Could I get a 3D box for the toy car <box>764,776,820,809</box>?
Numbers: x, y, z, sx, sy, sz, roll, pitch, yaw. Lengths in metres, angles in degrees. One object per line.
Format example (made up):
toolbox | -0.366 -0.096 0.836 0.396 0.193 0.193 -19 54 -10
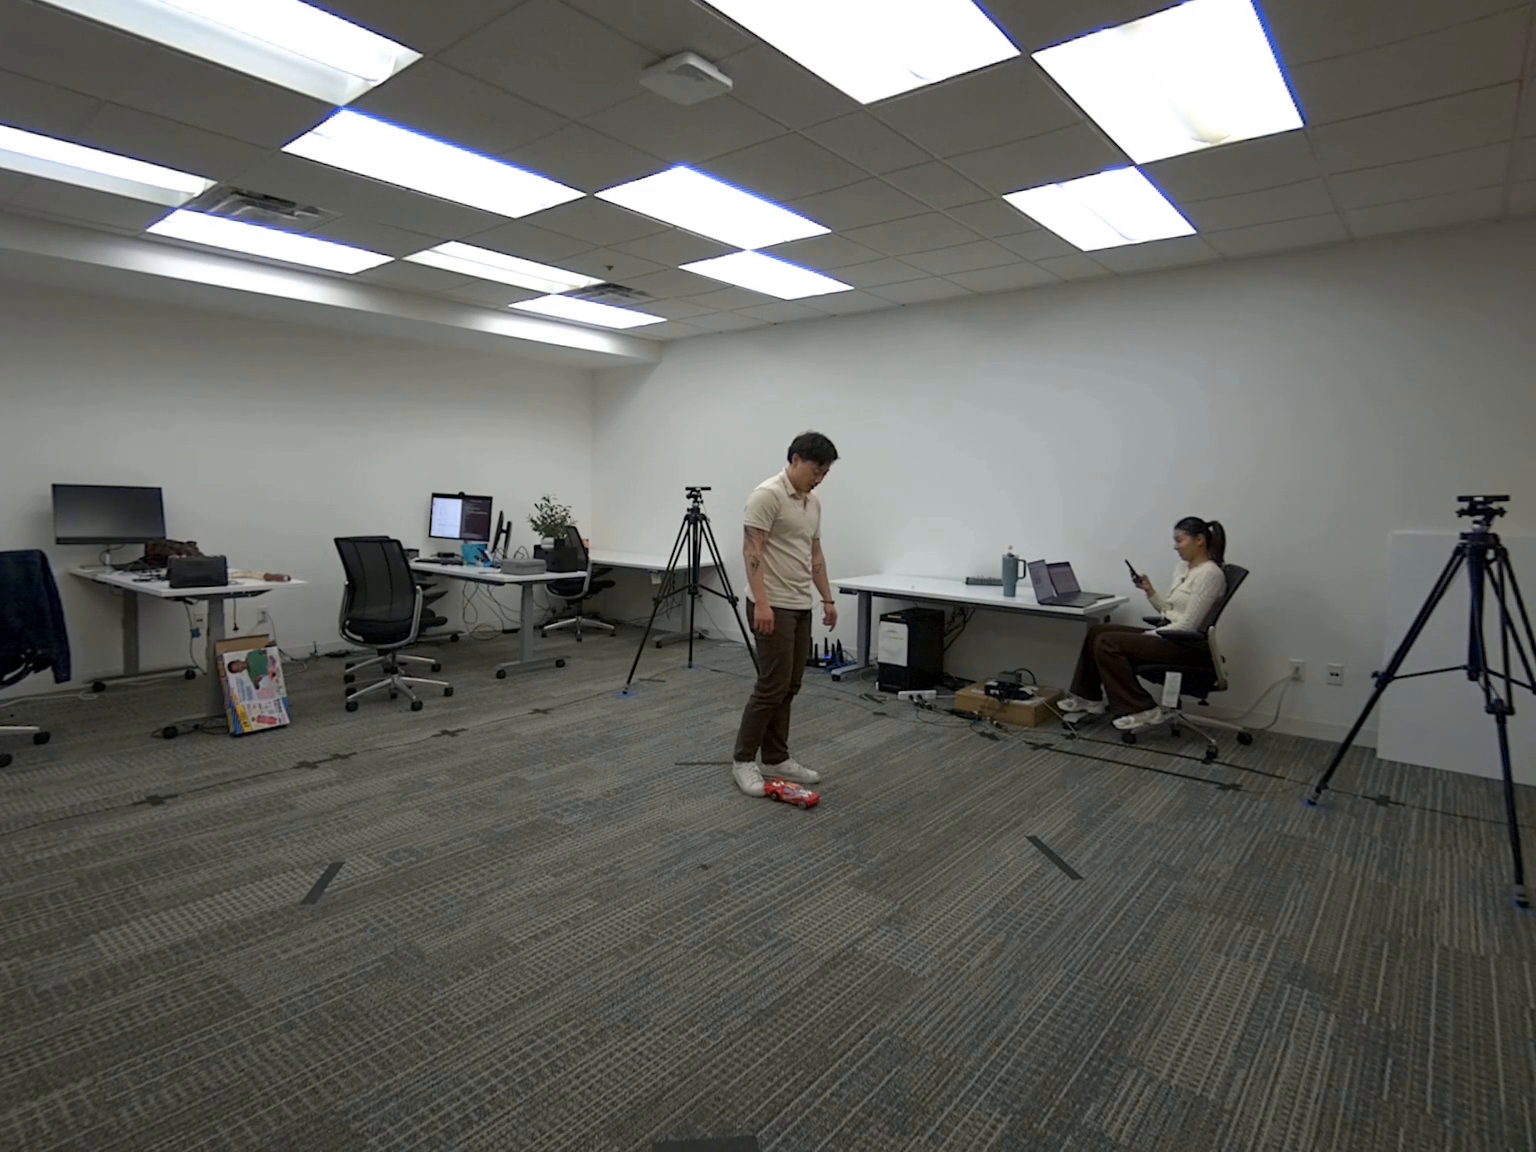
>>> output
toy car | 0.096 0.970 3.805 0.264 0.082 0.126 18 13 34
